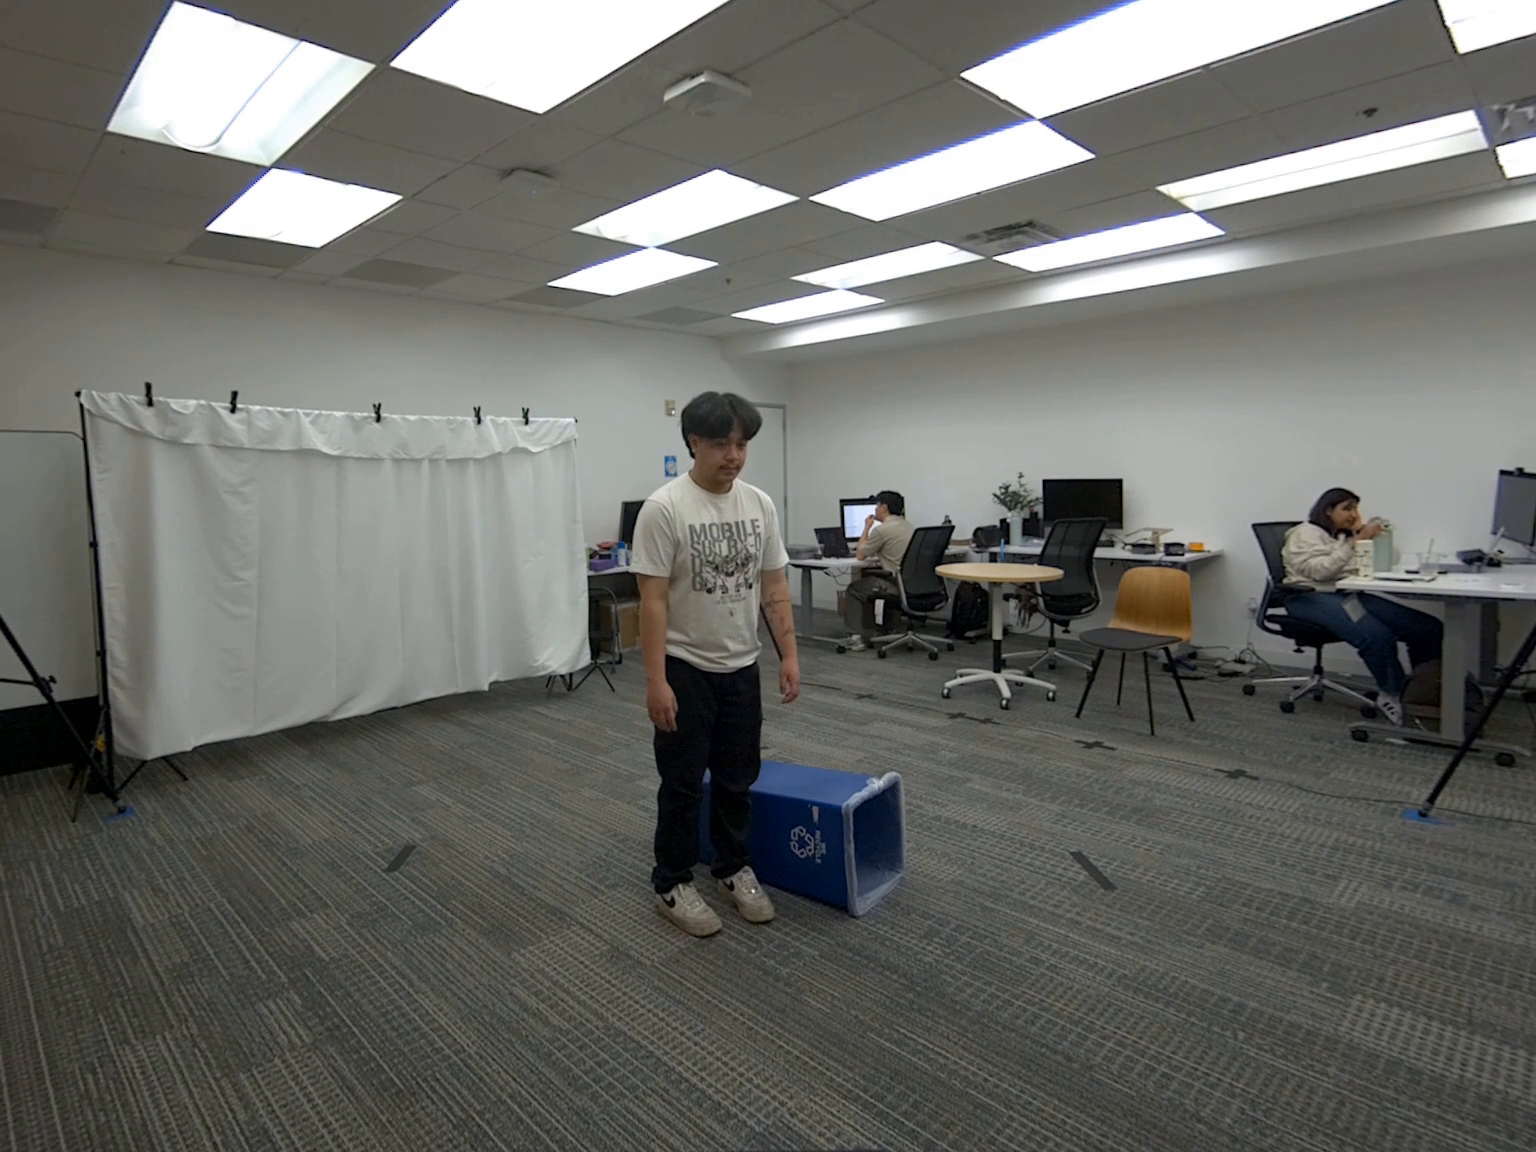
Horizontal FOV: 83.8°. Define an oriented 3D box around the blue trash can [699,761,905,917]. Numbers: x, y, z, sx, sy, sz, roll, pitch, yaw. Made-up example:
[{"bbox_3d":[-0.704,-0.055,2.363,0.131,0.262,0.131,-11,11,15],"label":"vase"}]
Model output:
[{"bbox_3d":[0.083,0.883,3.050,0.733,0.373,0.369,-1,5,36],"label":"blue trash can"}]
